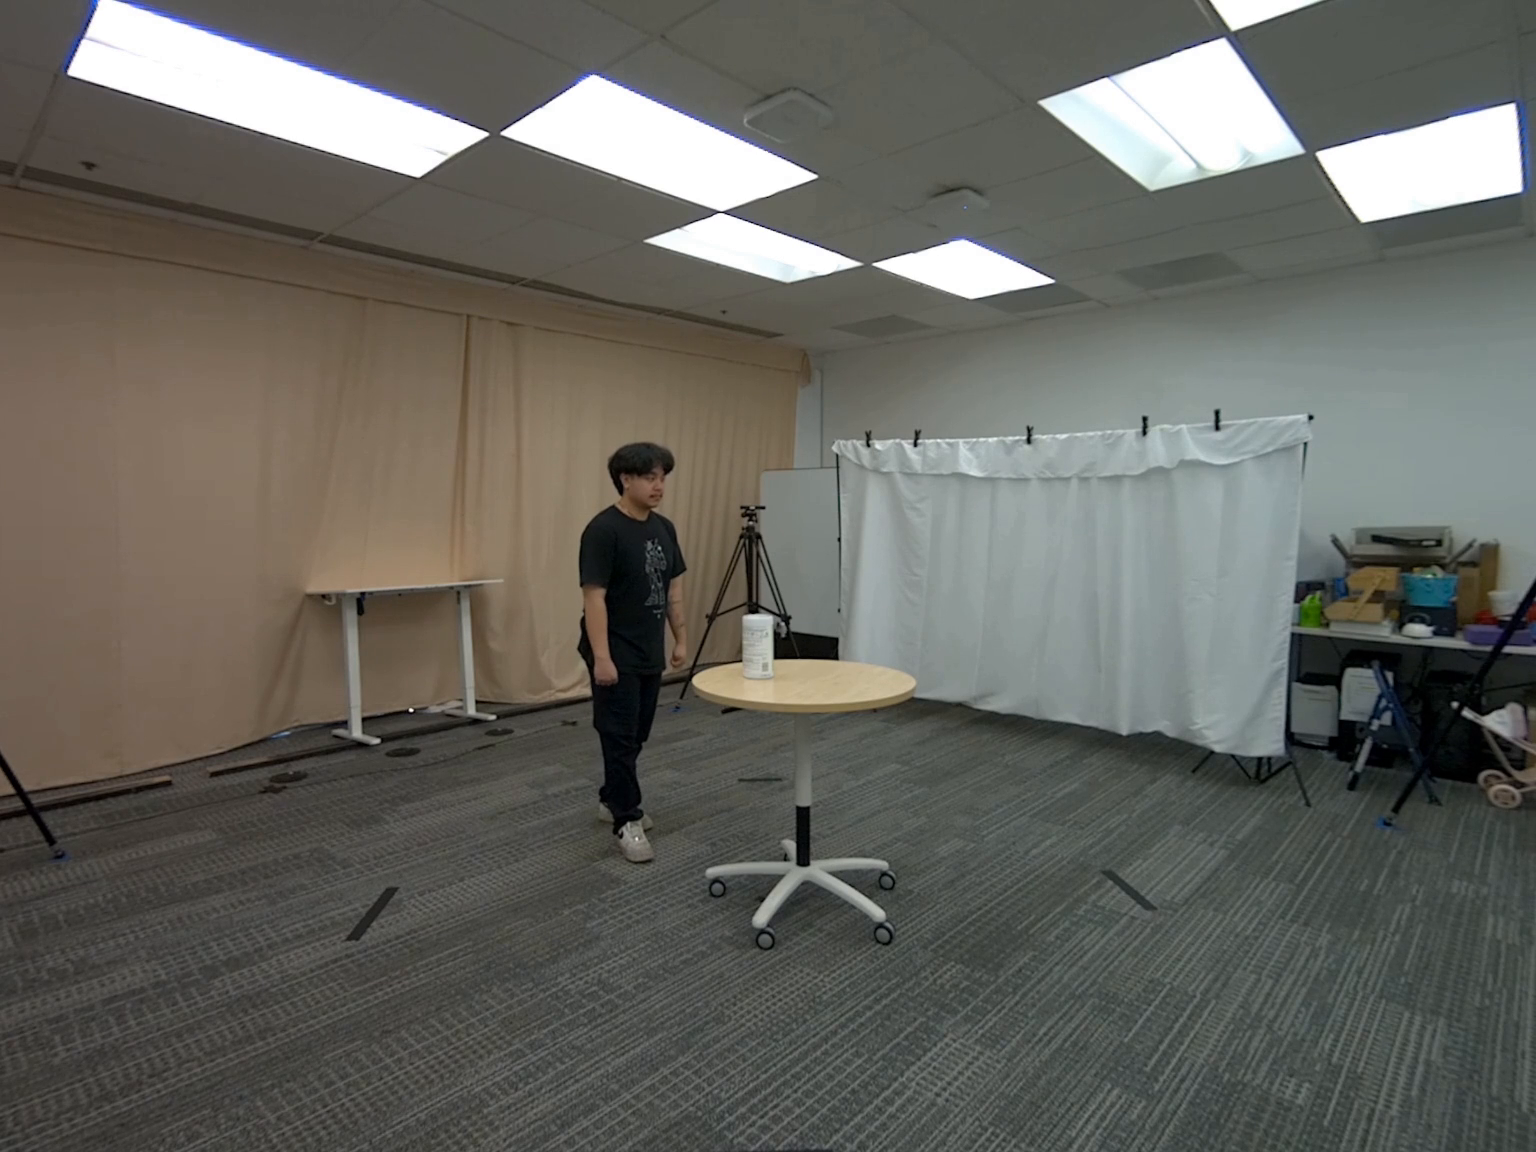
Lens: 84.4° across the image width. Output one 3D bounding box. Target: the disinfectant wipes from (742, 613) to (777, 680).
[{"bbox_3d":[-0.030,0.248,2.950,0.118,0.217,0.118,-1,1,-2],"label":"disinfectant wipes"}]
